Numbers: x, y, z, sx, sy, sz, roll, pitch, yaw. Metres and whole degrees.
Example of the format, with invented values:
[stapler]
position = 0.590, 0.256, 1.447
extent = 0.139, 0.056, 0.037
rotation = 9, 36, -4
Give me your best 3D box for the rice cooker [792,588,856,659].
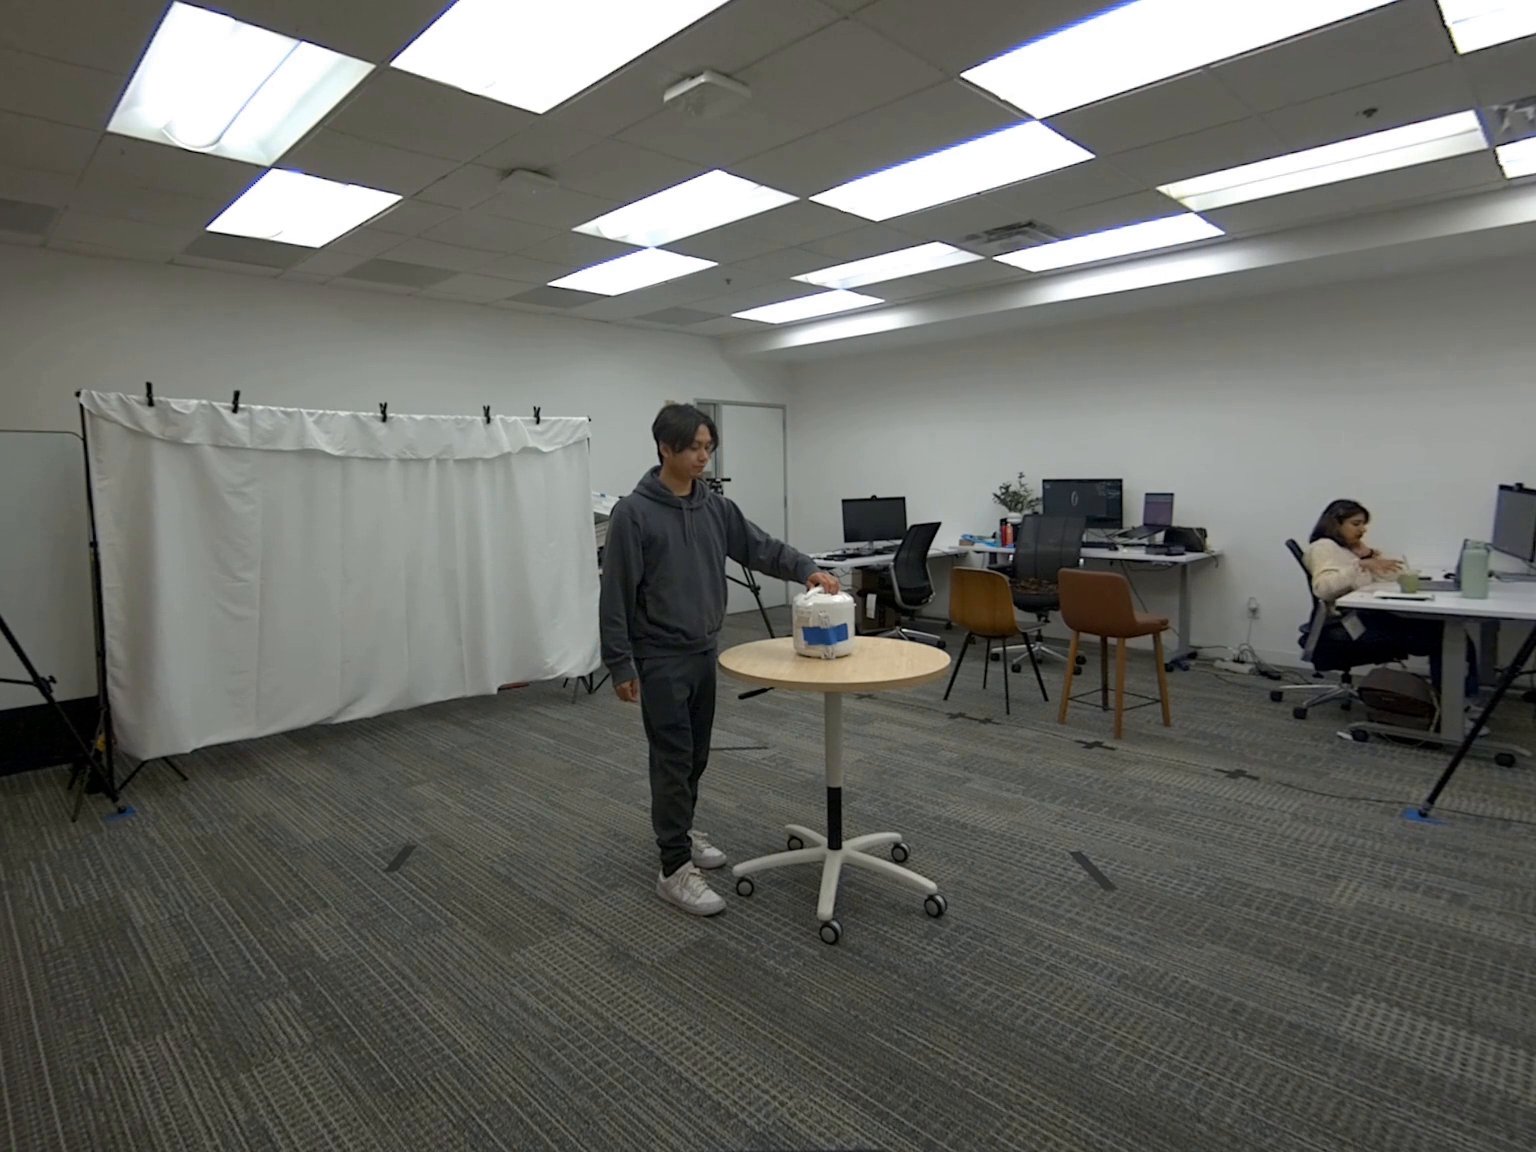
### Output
[rice cooker]
position = 0.183, 0.149, 2.893
extent = 0.224, 0.232, 0.215
rotation = 3, 5, 44
